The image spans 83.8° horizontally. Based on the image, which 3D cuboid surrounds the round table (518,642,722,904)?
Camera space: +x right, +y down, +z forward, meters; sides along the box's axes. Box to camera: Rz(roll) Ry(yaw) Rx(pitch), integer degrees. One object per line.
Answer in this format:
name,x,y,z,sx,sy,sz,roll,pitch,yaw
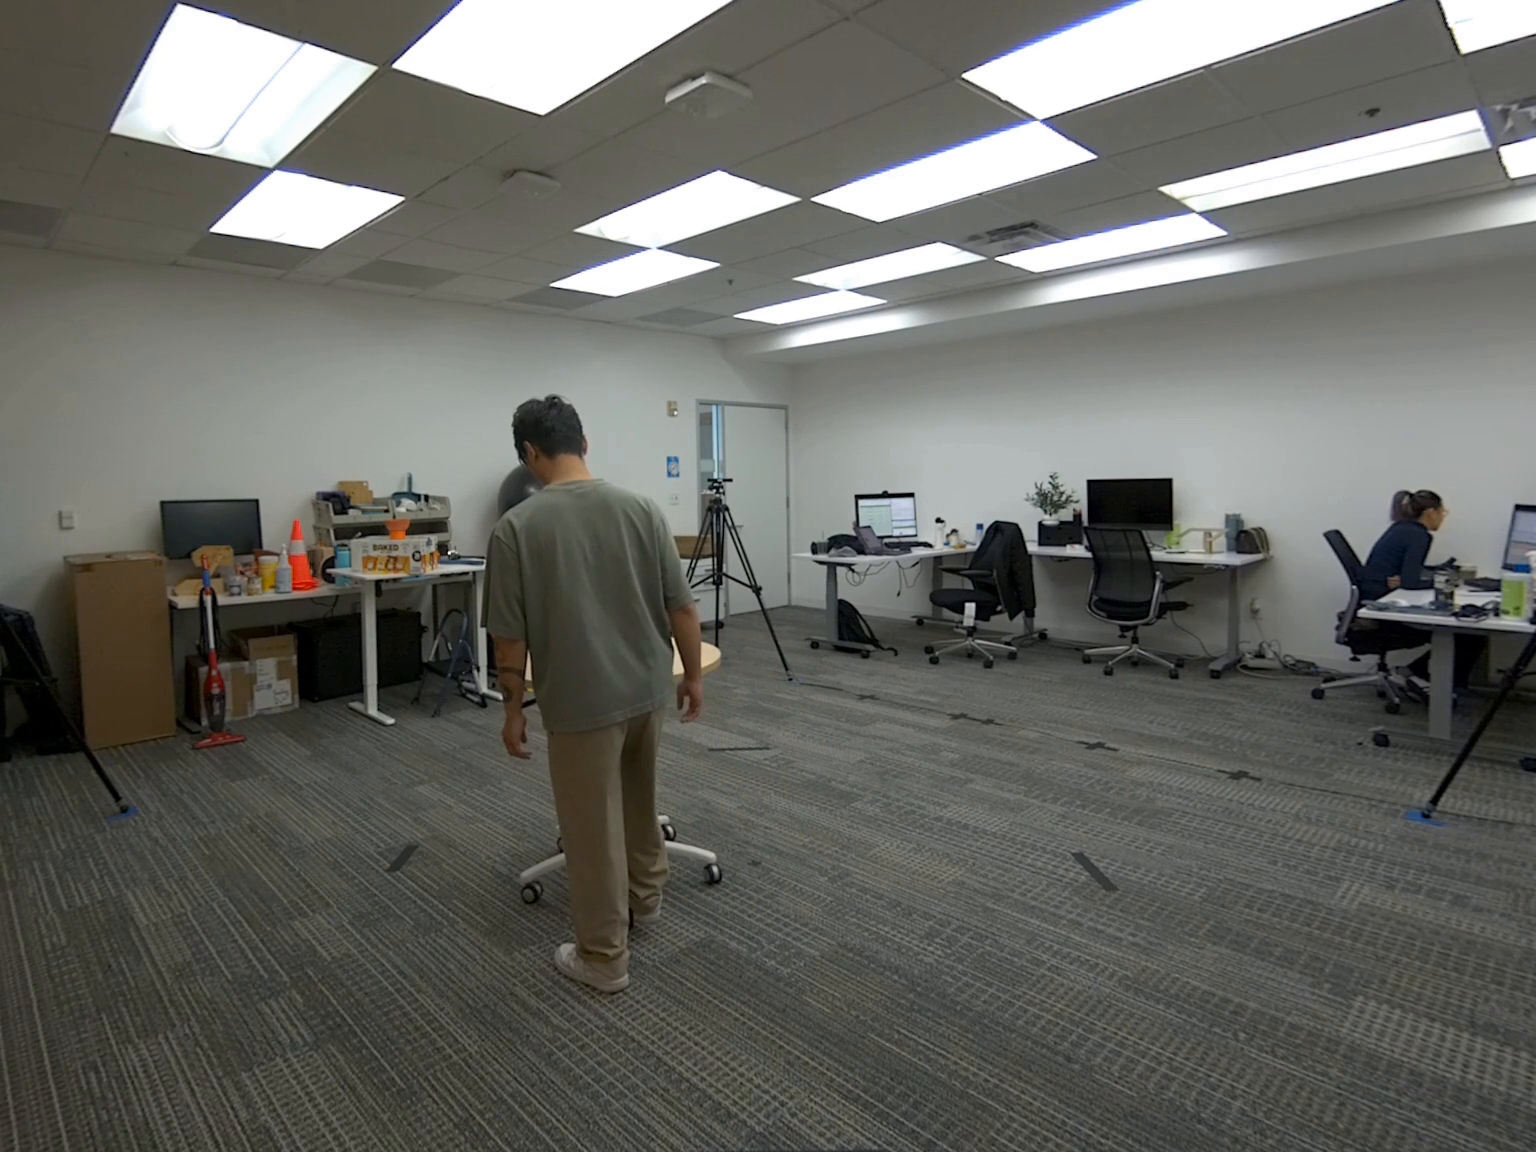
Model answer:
round table,-0.544,0.673,3.007,0.784,0.783,0.789,-1,5,-2
